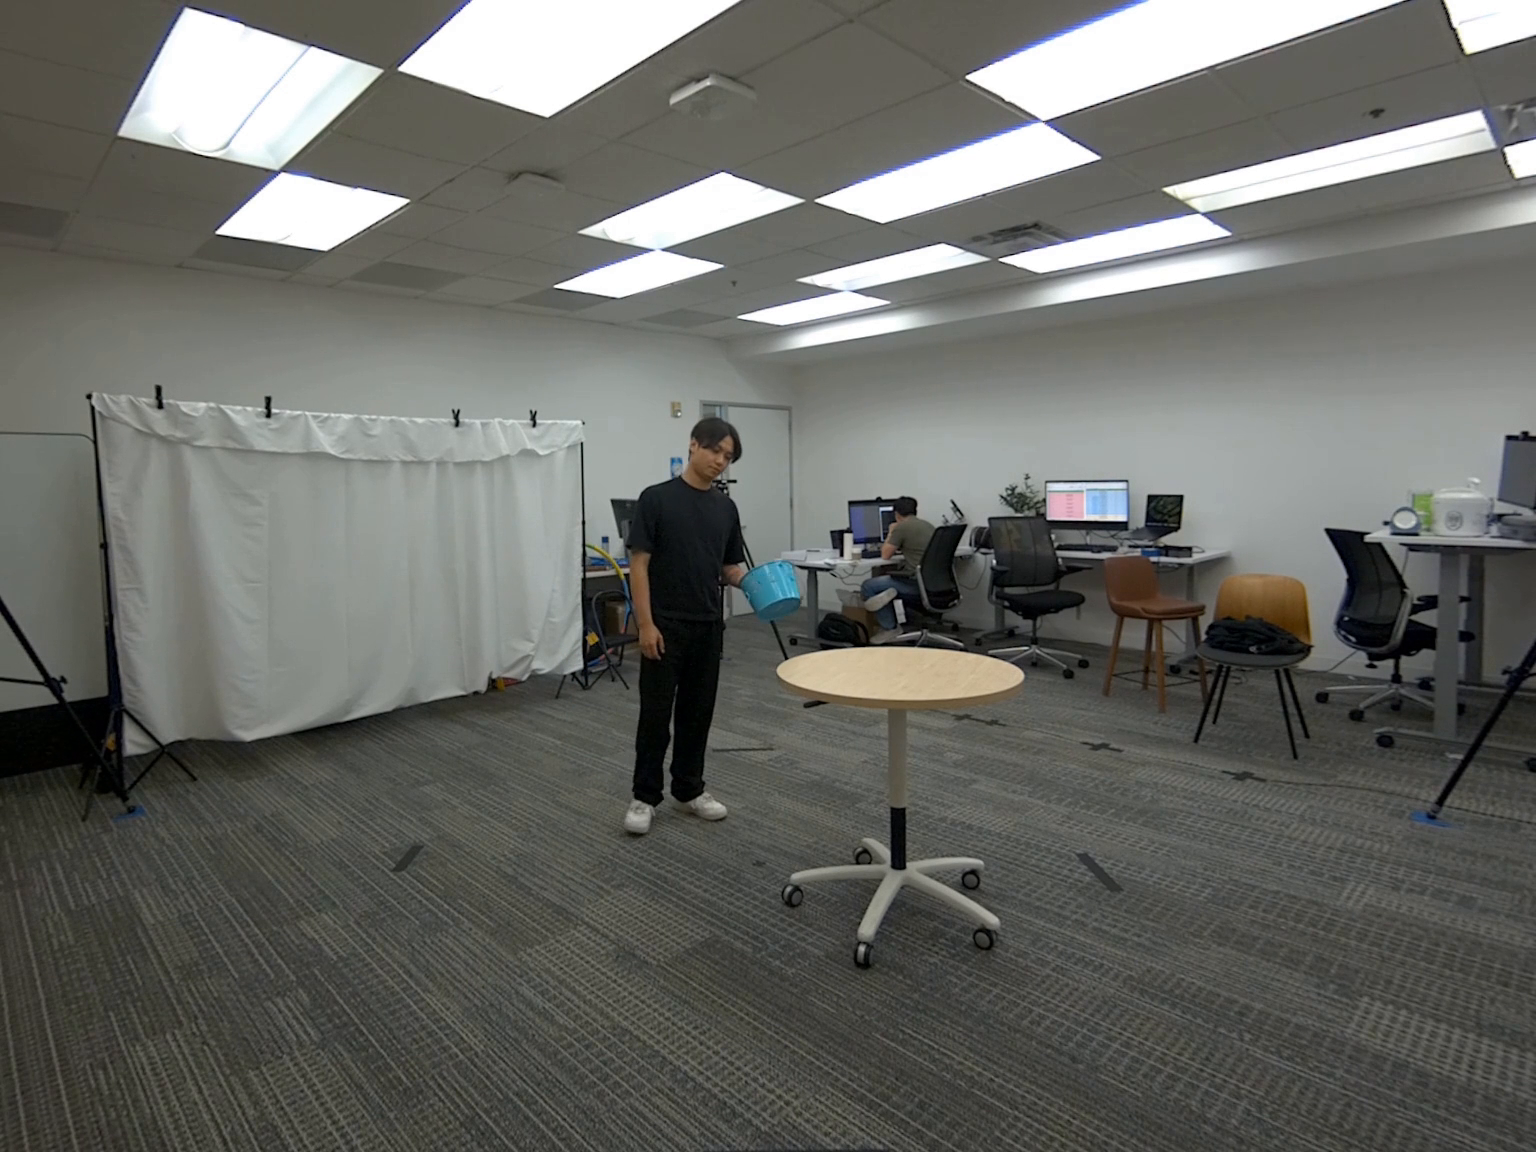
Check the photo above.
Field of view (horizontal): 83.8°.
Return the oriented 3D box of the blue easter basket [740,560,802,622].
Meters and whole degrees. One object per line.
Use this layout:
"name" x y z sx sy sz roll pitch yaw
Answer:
"blue easter basket" 0.025 0.065 3.320 0.242 0.160 0.238 -17 -26 -11
